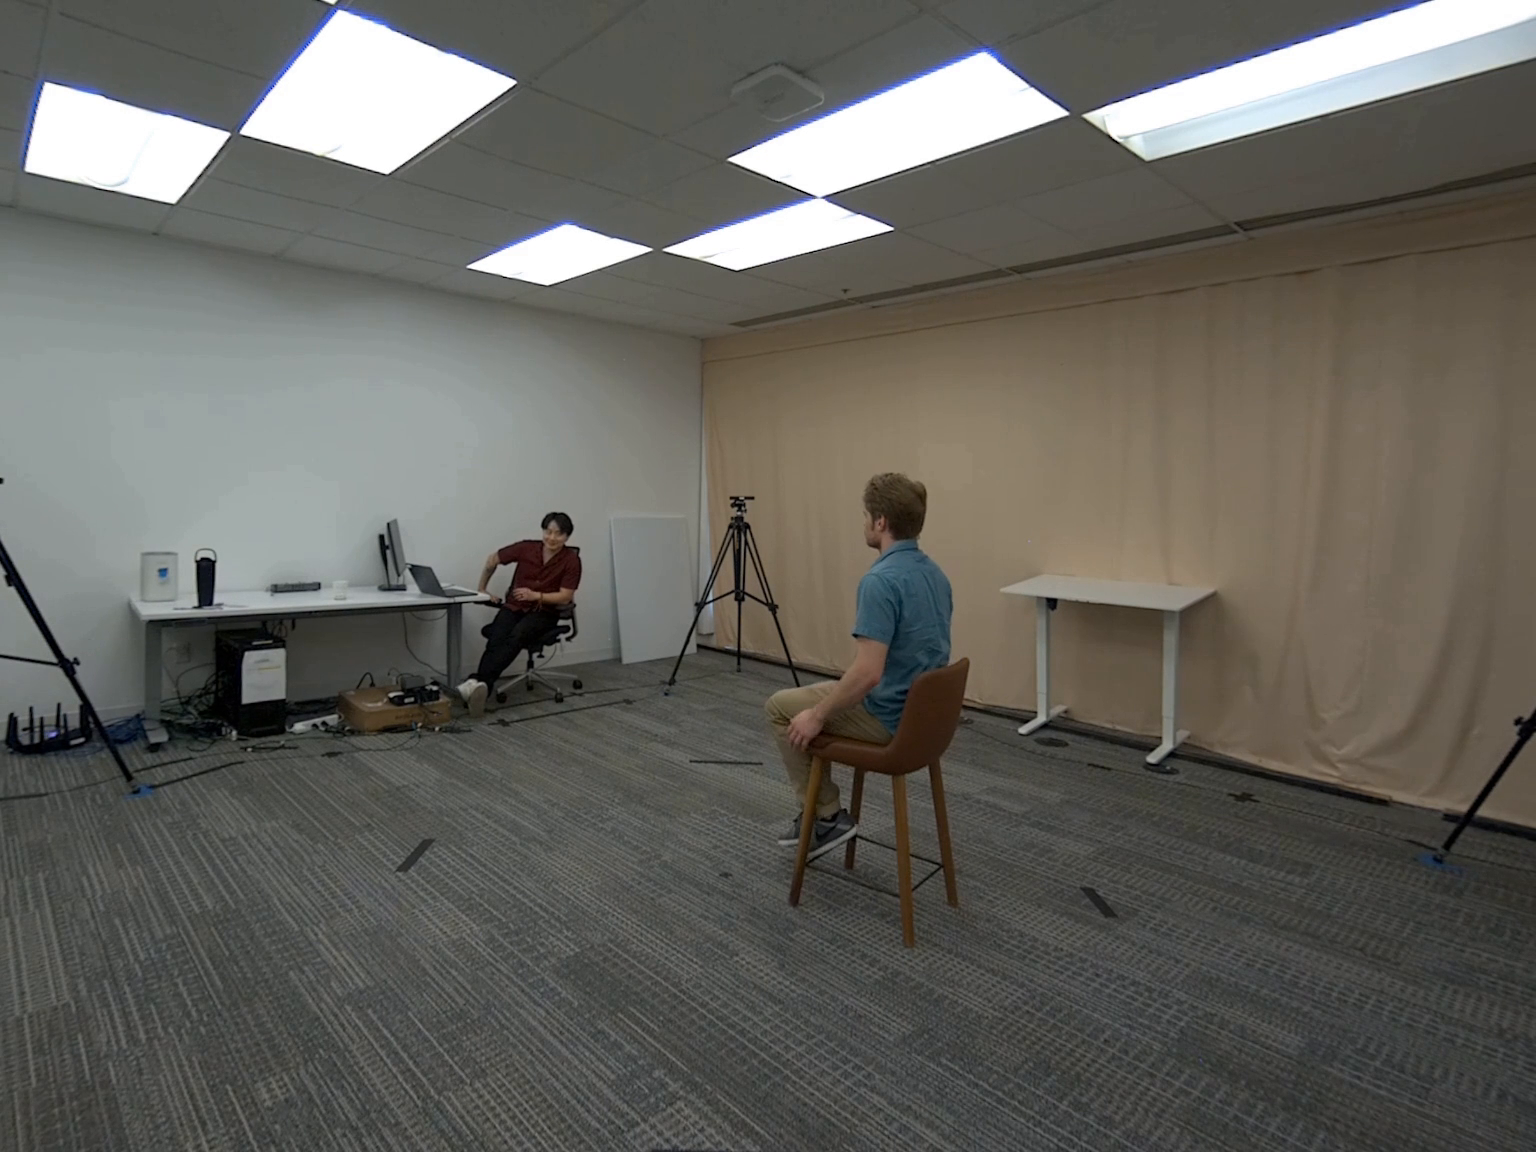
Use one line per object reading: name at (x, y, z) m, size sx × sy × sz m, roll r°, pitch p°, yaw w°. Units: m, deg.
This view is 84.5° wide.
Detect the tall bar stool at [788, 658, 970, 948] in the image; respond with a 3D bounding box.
tall bar stool at (0.384, 0.701, 2.870) m, size 0.479 × 0.886 × 0.447 m, roll 7°, pitch 7°, yaw 36°
